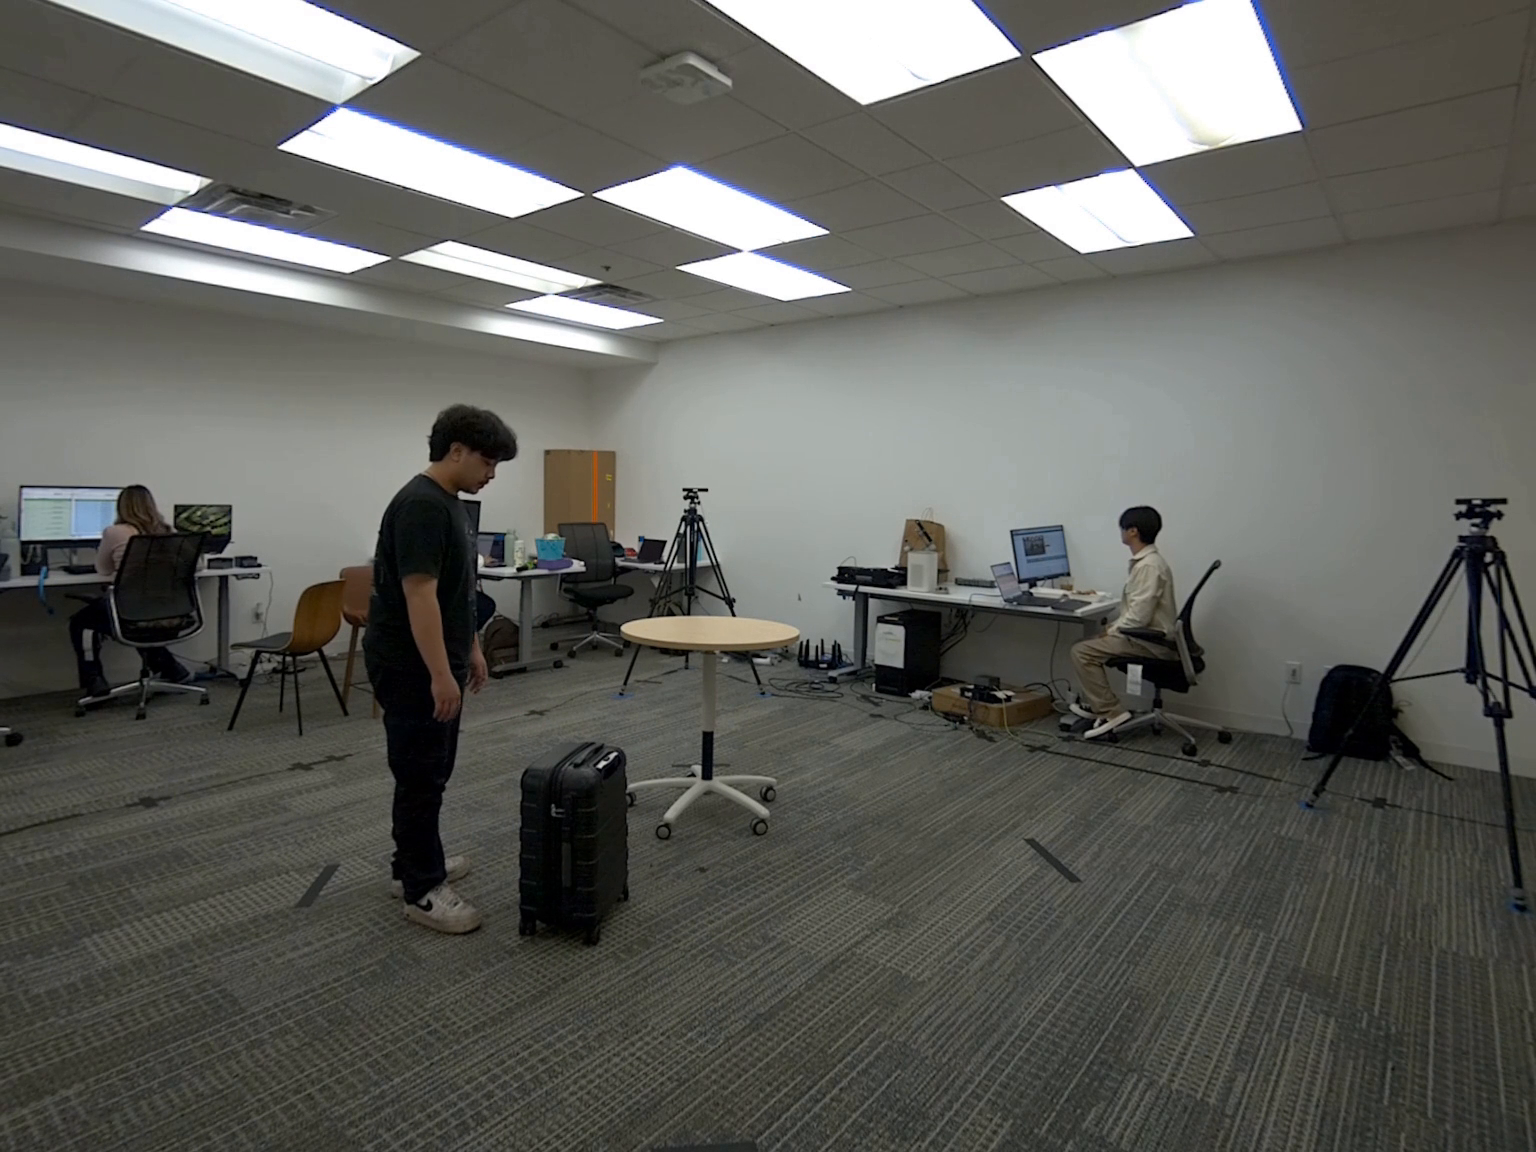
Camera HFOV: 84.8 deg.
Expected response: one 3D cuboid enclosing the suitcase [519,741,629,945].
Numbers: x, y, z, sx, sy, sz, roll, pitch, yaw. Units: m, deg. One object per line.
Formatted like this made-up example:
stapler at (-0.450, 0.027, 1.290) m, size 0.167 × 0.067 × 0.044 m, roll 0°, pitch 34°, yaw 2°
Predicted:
suitcase at (-0.628, 0.830, 2.713) m, size 0.252 × 0.547 × 0.372 m, roll 2°, pitch 5°, yaw 11°
